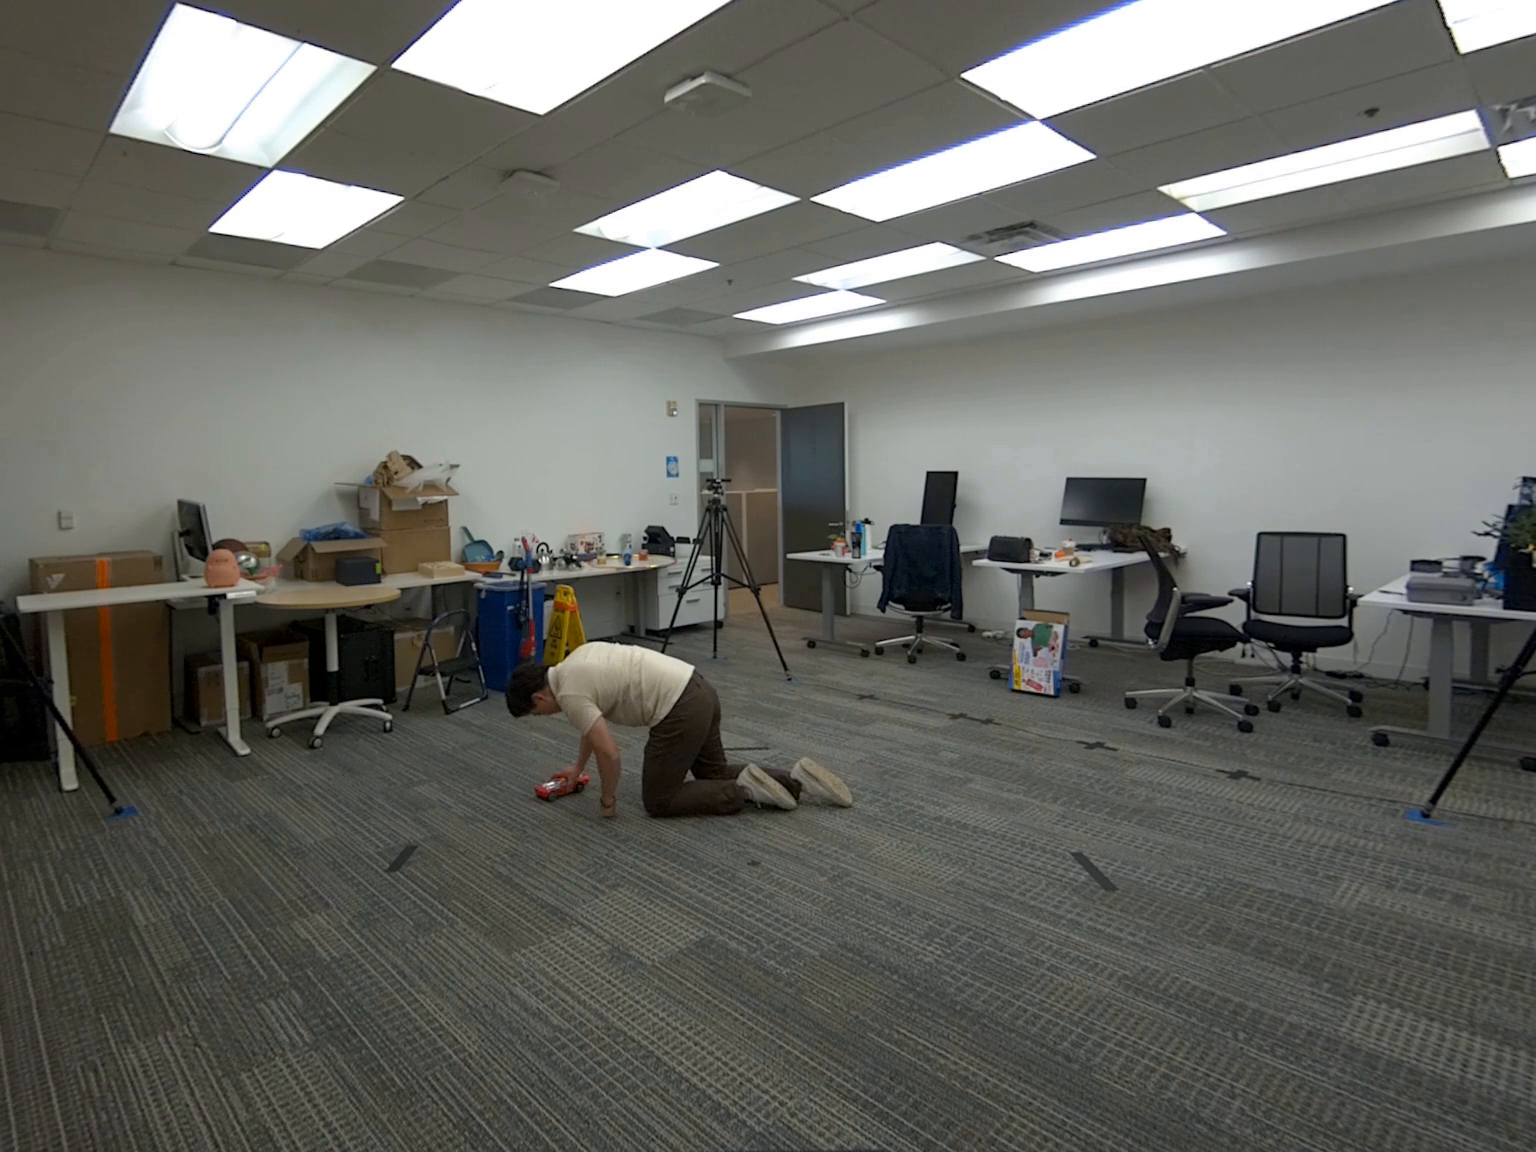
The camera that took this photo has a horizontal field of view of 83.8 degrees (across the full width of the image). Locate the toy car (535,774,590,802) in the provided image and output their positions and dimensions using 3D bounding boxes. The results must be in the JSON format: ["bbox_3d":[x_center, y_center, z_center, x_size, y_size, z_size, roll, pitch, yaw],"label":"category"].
[{"bbox_3d":[-0.922,0.946,3.860,0.134,0.082,0.250,2,15,46],"label":"toy car"}]
